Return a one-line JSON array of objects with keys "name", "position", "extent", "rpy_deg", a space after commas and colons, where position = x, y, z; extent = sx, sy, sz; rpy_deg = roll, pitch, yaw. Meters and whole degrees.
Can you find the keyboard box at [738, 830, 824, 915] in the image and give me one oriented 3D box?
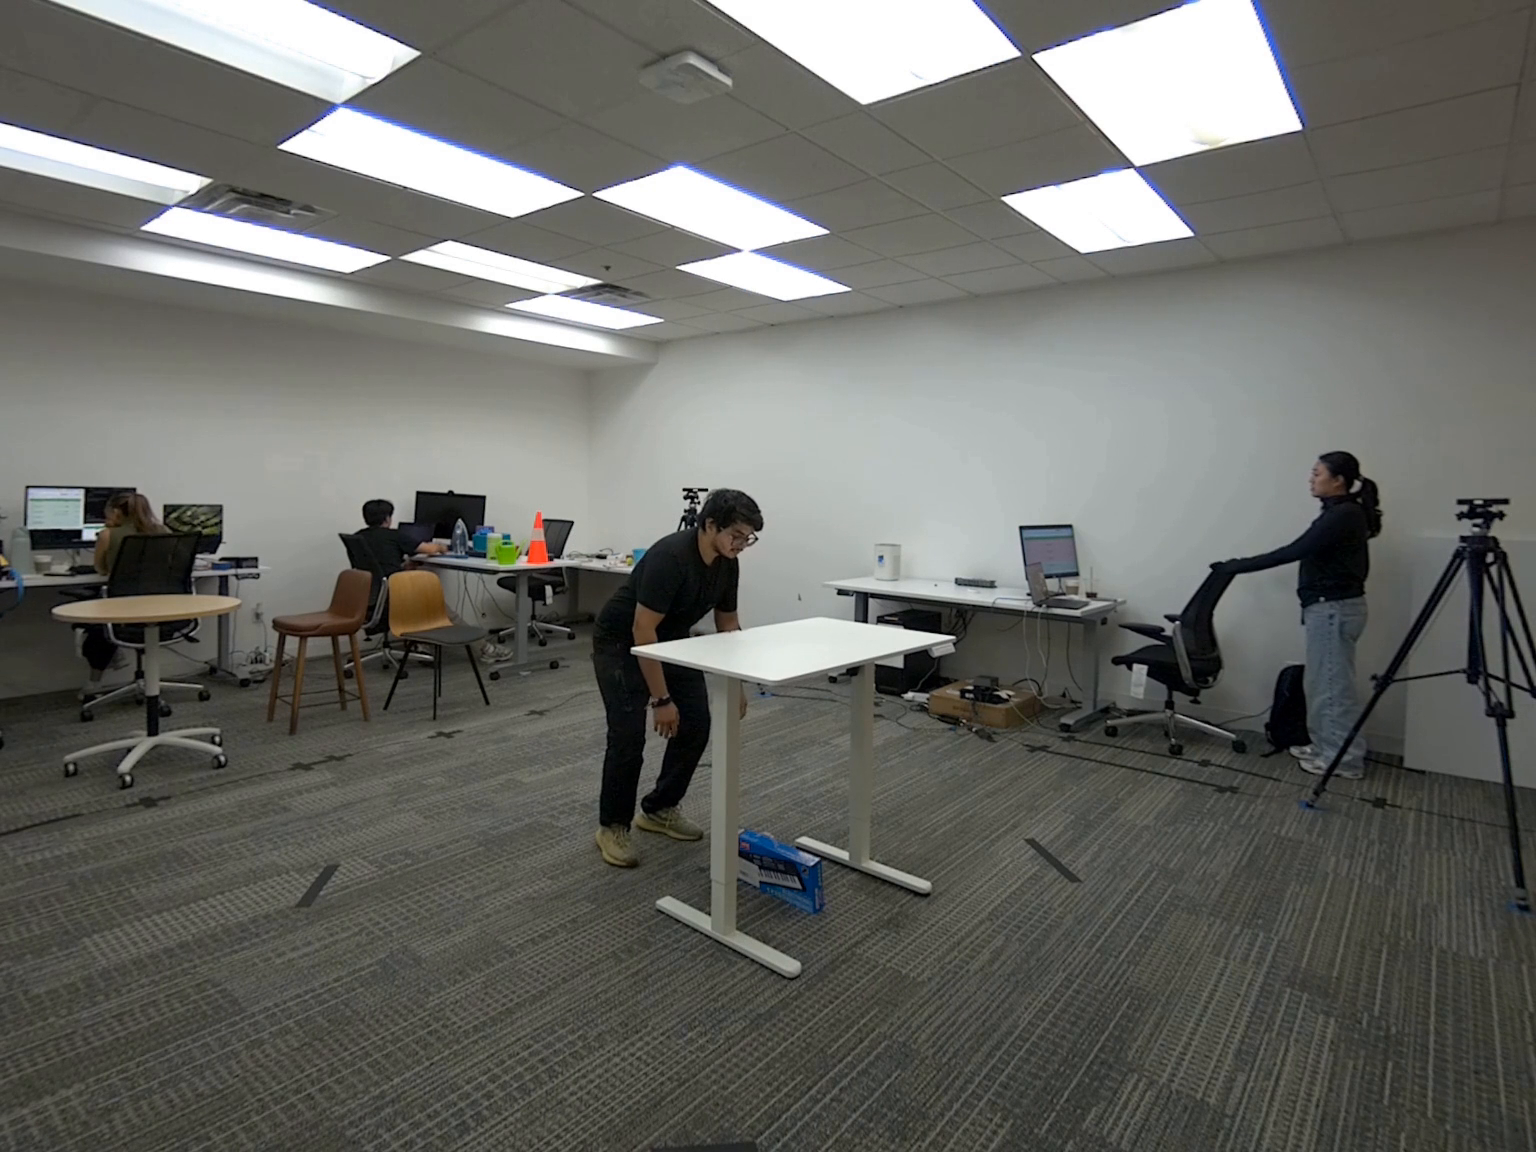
[{"name": "keyboard box", "position": [-0.007, 1.001, 2.950], "extent": [0.452, 0.174, 0.057], "rpy_deg": [6, 12, 43]}]
